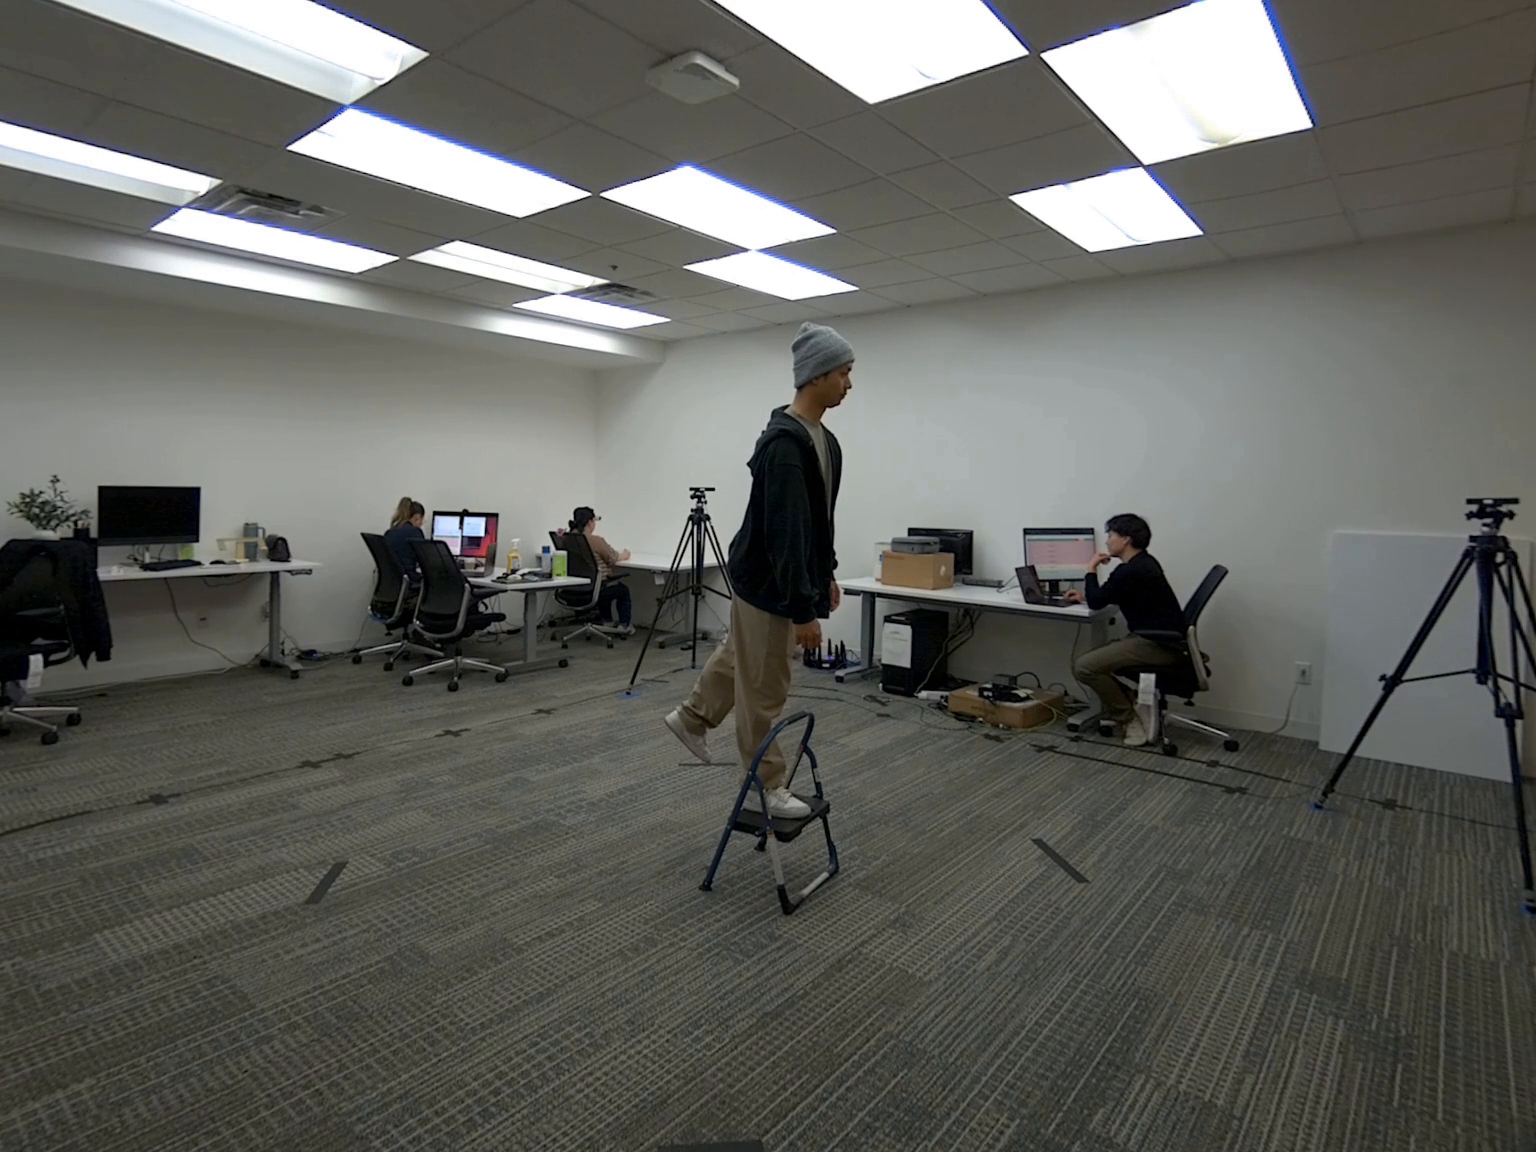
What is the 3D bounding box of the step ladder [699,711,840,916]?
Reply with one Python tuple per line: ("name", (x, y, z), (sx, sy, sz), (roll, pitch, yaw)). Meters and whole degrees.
("step ladder", (0.015, 0.777, 3.018), (0.359, 0.604, 0.420), (3, 4, 29))
